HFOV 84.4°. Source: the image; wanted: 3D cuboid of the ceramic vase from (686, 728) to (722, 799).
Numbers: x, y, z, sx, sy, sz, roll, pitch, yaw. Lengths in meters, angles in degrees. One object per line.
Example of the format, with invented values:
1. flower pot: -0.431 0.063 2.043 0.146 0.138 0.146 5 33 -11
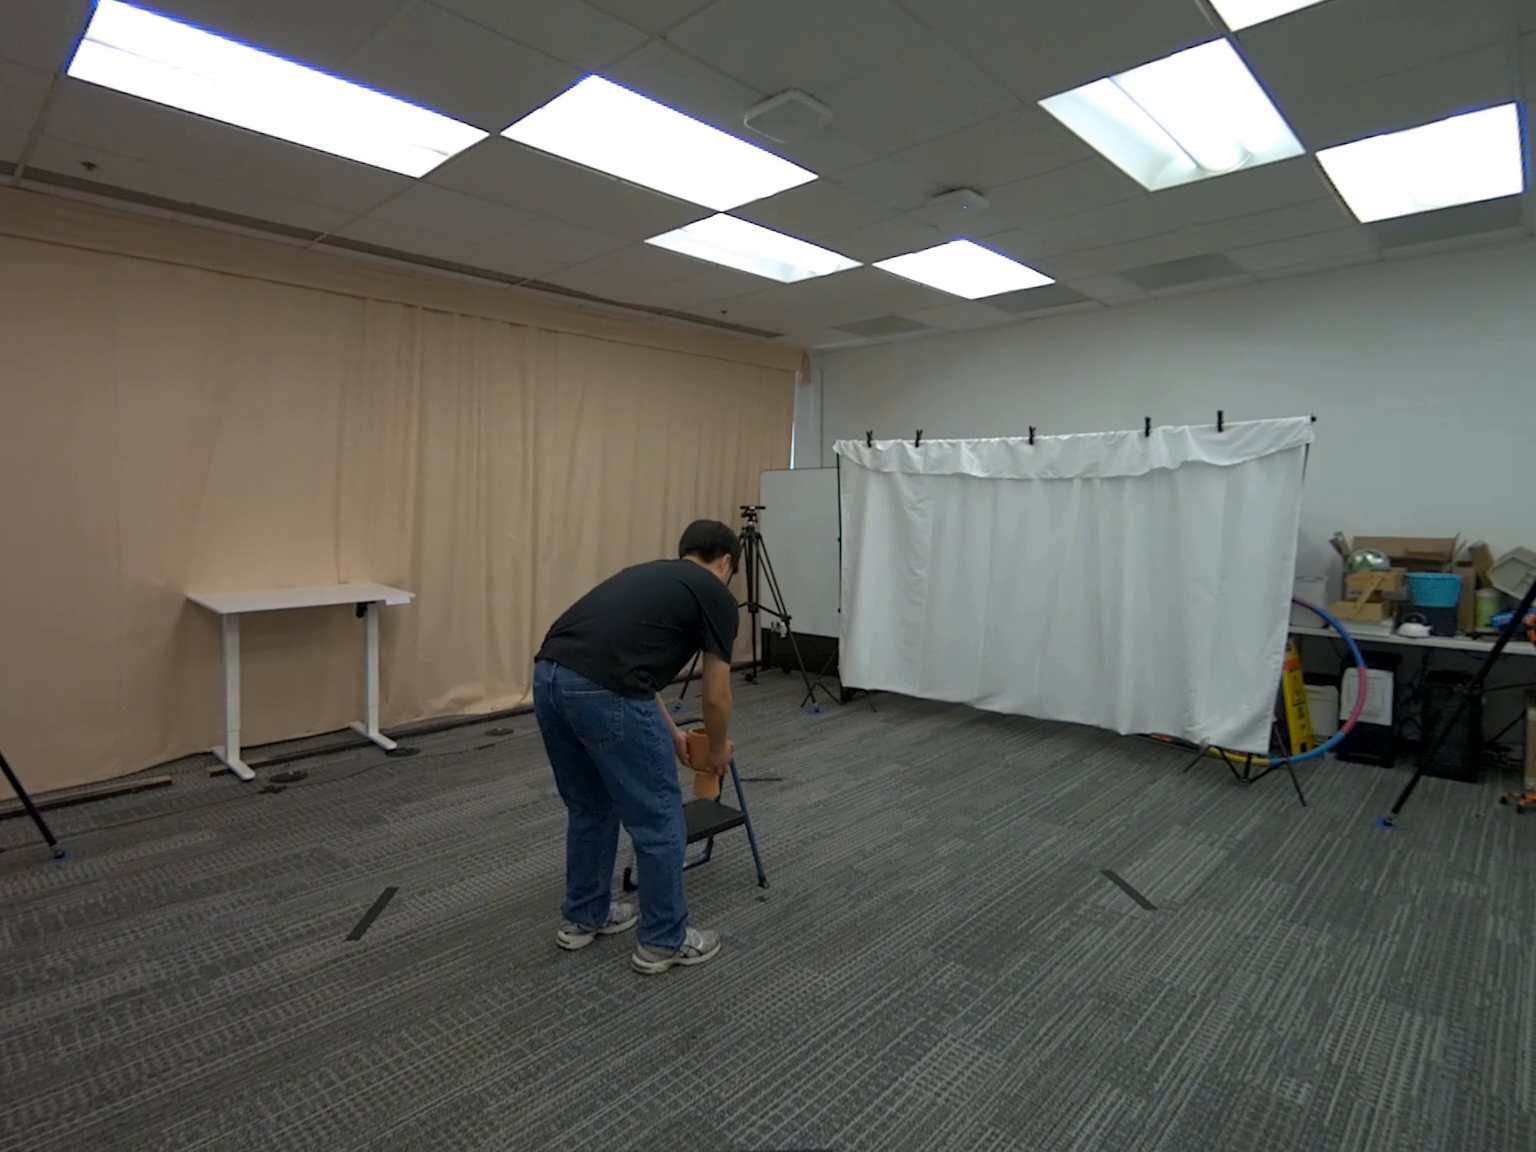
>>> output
1. ceramic vase: -0.213 0.654 2.960 0.130 0.219 0.164 0 4 -35
